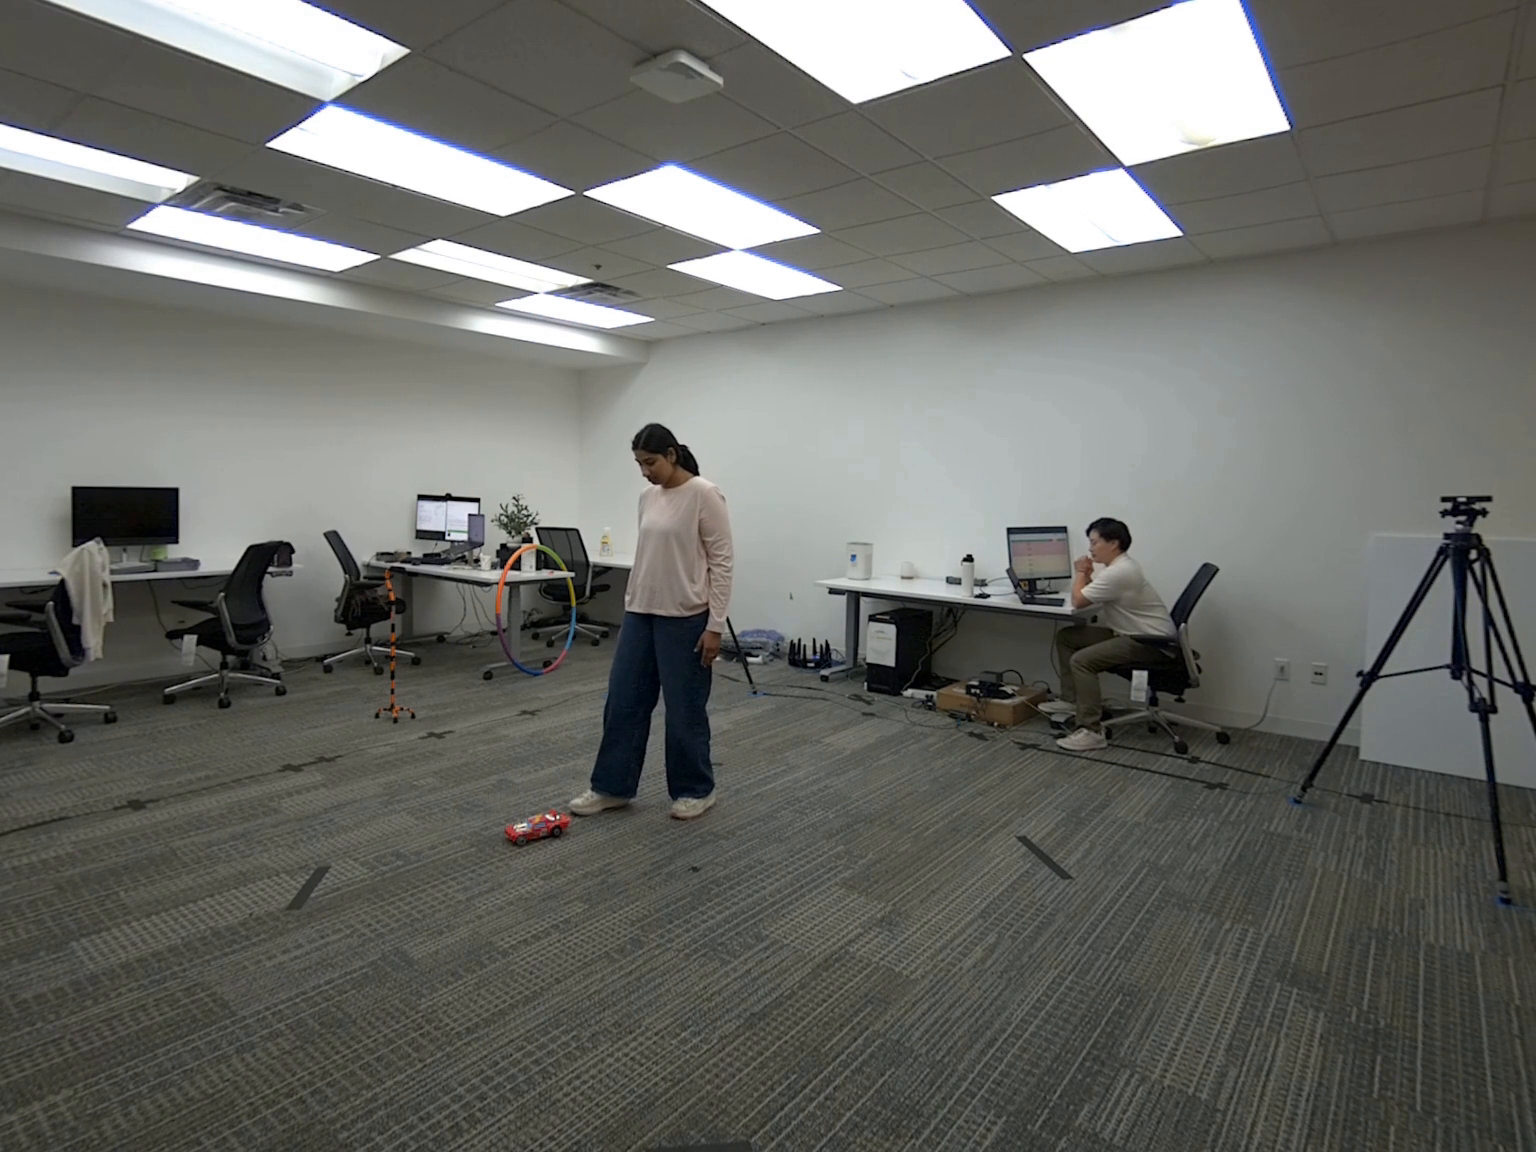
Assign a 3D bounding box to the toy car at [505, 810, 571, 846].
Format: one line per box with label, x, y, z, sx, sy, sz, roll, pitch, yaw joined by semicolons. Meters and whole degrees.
toy car;-0.923;0.997;3.376;0.249;0.082;0.134;-17;13;-34
